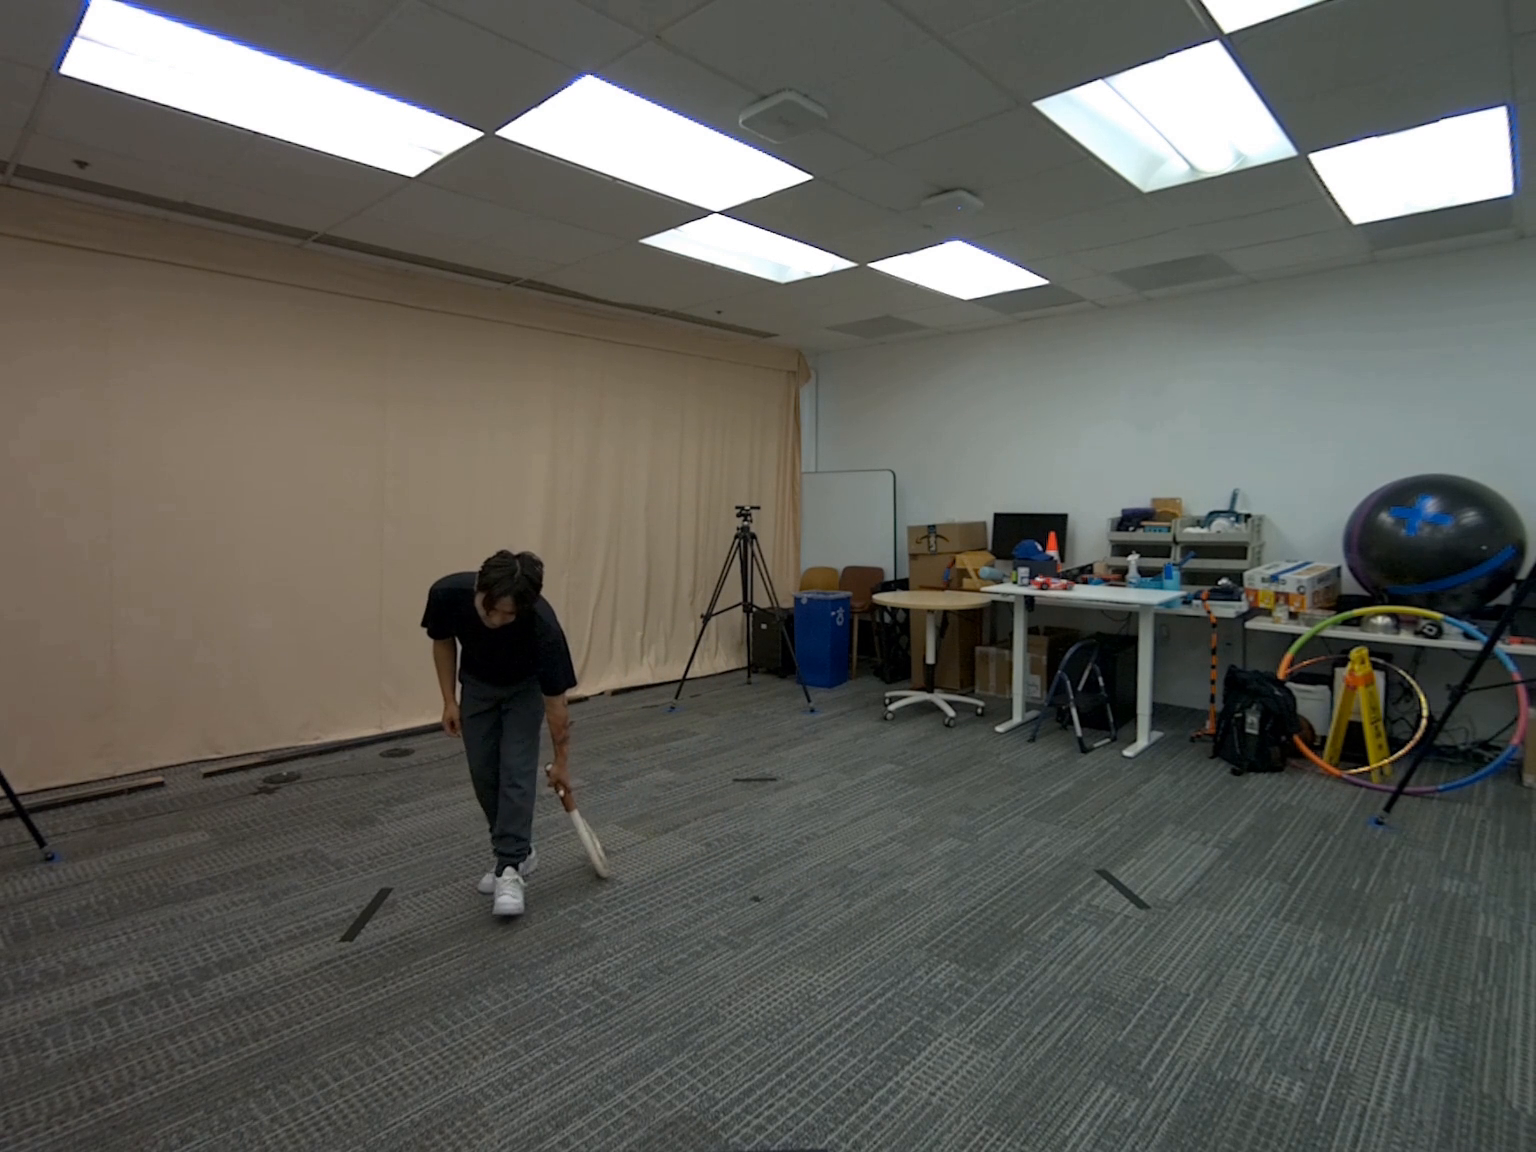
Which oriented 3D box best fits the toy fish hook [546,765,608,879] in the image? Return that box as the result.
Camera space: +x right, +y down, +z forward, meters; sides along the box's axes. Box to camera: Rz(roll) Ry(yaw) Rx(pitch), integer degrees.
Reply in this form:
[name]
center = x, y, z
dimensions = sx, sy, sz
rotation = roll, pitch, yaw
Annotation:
[toy fish hook]
center = -0.716, 0.913, 3.161
dimensions = 0.048, 0.501, 0.229
rotation = -26, 12, -13
